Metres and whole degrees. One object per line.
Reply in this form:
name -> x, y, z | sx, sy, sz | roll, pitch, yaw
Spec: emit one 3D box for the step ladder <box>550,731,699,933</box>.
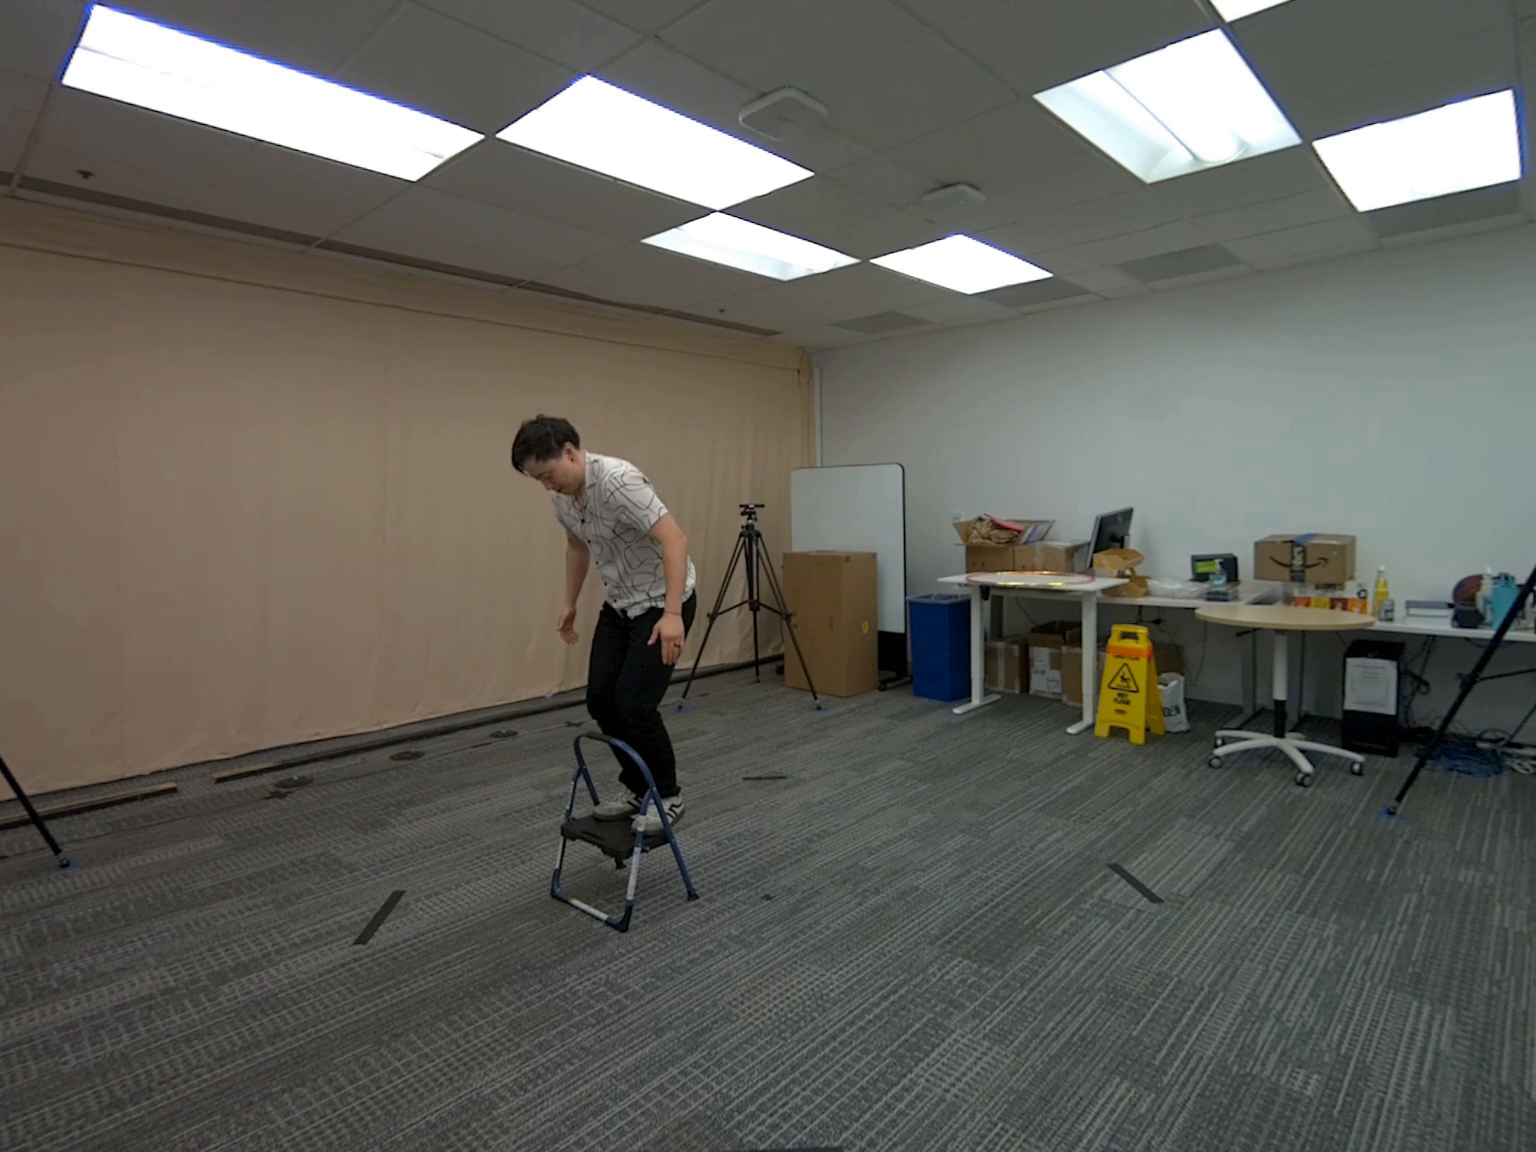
step ladder -> -0.527, 0.846, 2.999 | 0.445, 0.604, 0.339 | 2, 5, 41
